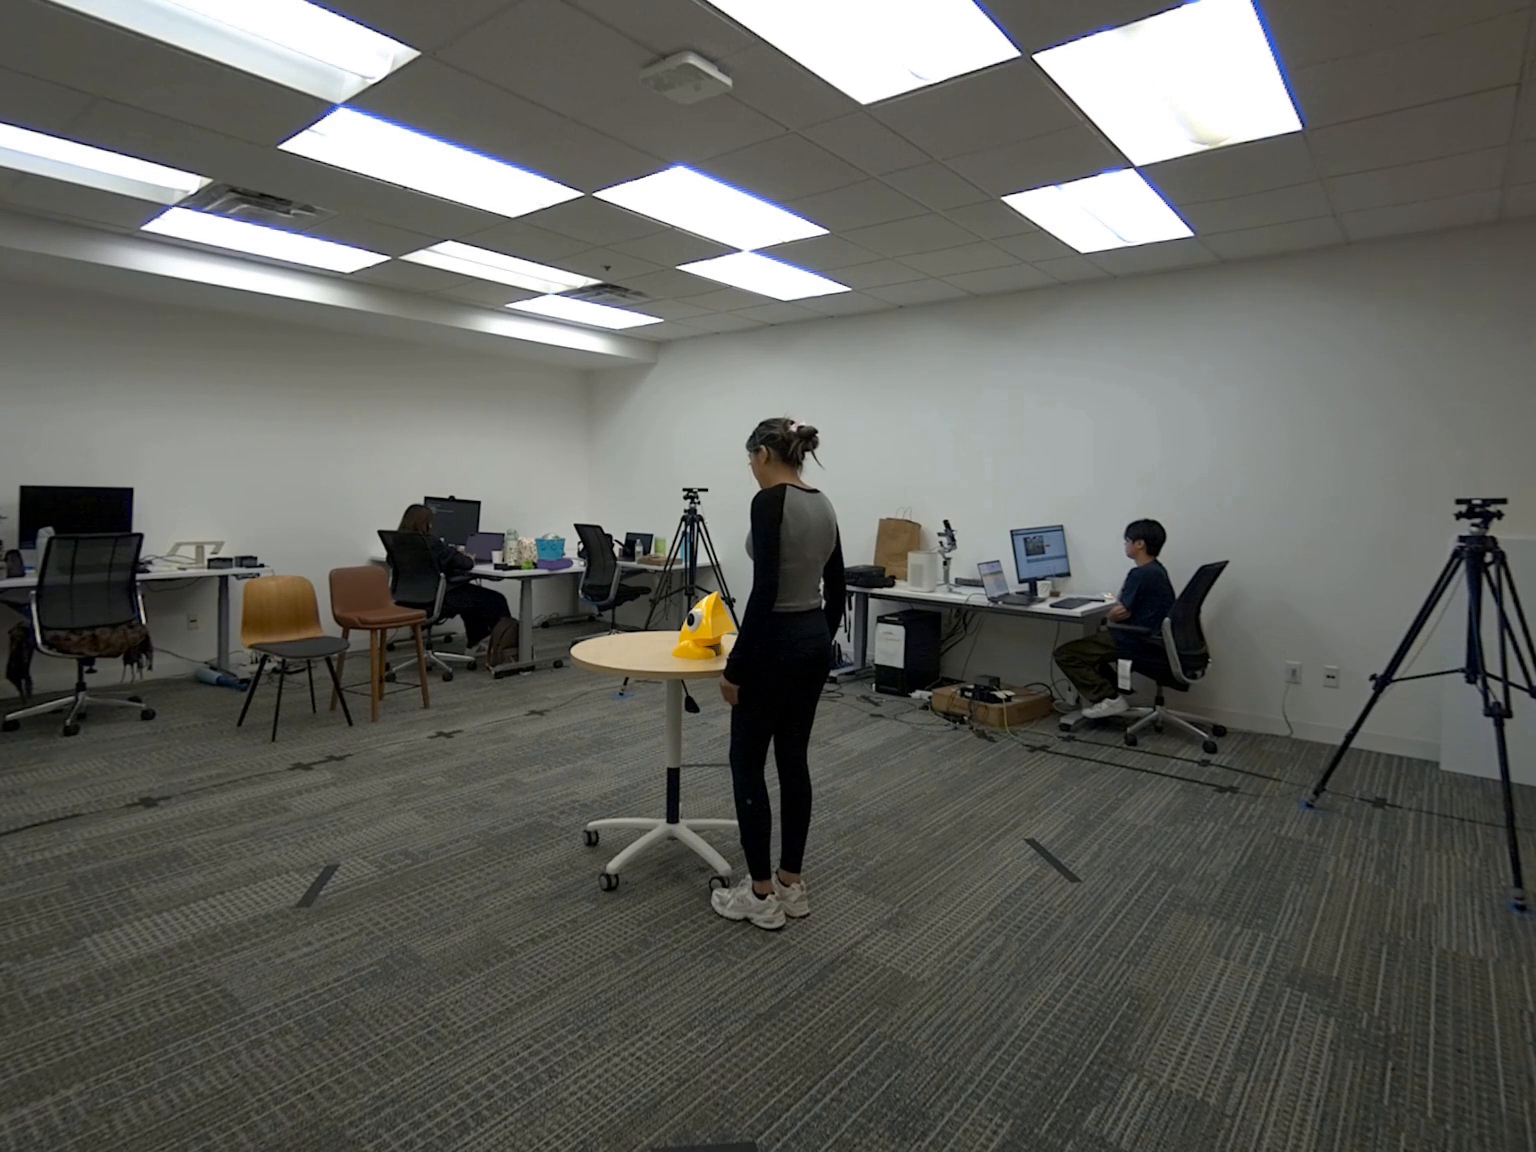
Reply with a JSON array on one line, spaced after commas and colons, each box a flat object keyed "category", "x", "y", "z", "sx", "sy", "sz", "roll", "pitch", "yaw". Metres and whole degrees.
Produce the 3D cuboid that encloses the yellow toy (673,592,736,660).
[{"category": "yellow toy", "x": -0.252, "y": 0.164, "z": 3.075, "sx": 0.198, "sy": 0.230, "sz": 0.200, "roll": 3, "pitch": 4, "yaw": 23}]
